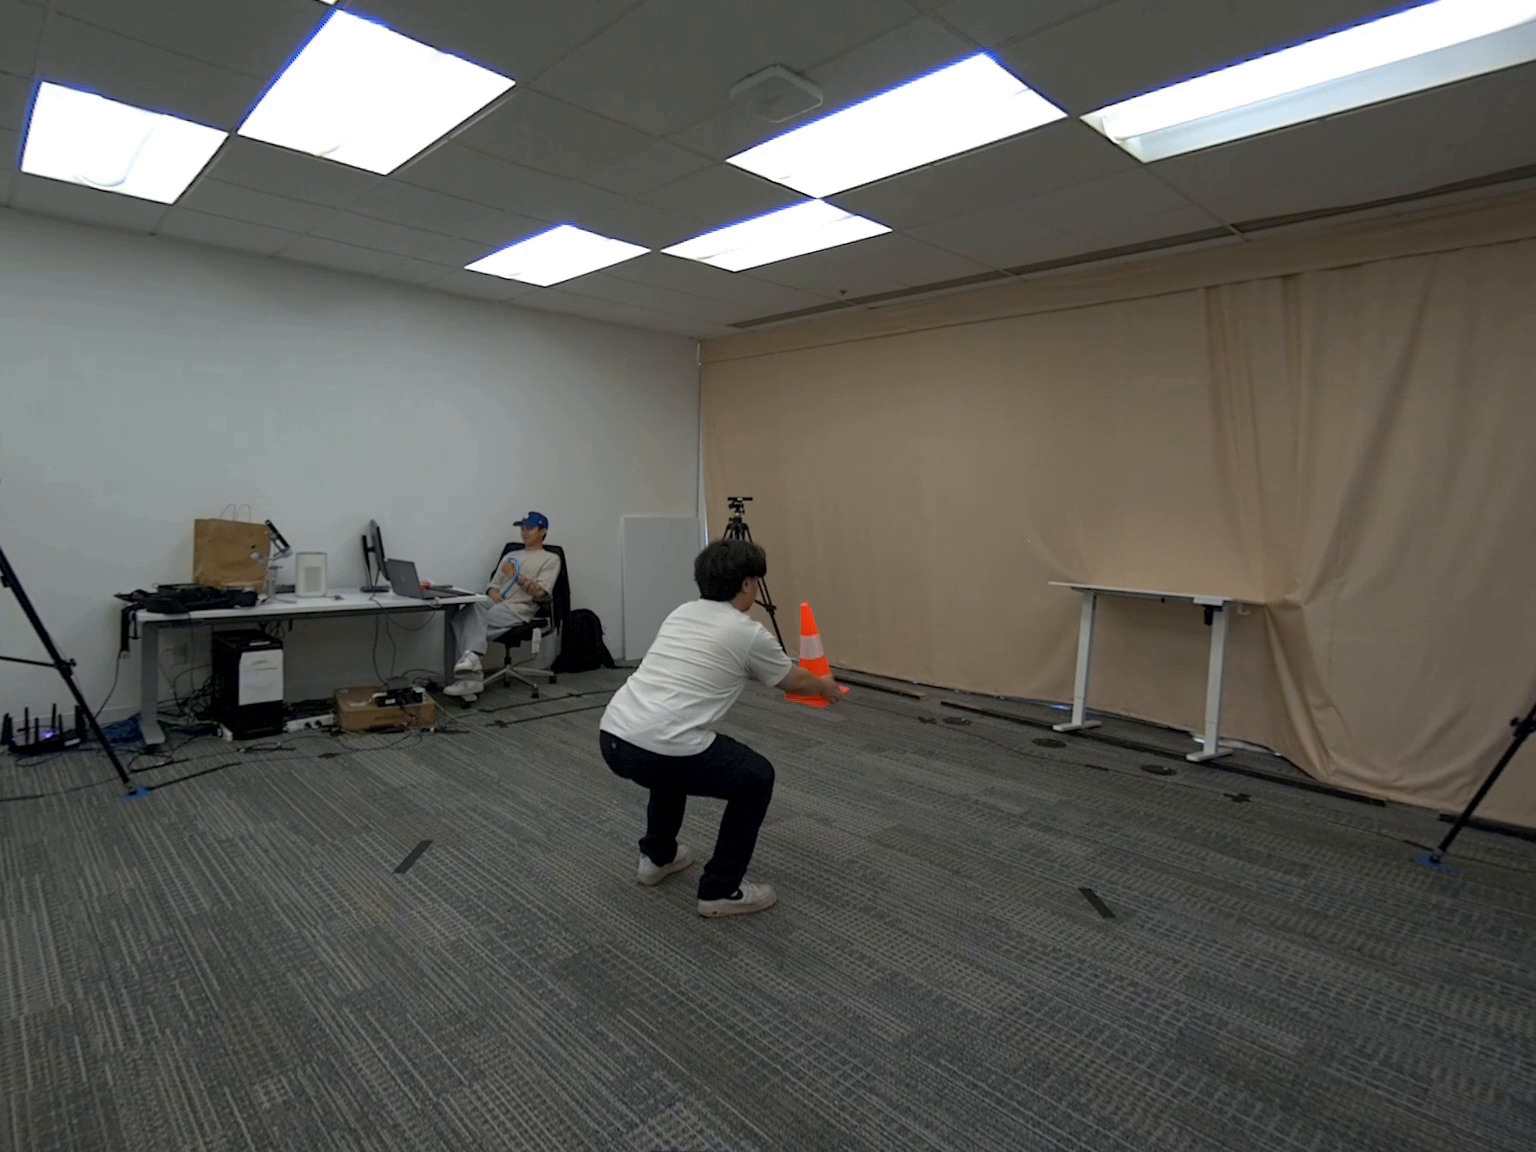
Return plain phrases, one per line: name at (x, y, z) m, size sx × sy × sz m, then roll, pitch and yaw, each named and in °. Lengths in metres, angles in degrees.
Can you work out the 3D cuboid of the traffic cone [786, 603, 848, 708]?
traffic cone at (0.163, 0.293, 3.365) m, size 0.210 × 0.380 × 0.200 m, roll 1°, pitch 13°, yaw 35°
